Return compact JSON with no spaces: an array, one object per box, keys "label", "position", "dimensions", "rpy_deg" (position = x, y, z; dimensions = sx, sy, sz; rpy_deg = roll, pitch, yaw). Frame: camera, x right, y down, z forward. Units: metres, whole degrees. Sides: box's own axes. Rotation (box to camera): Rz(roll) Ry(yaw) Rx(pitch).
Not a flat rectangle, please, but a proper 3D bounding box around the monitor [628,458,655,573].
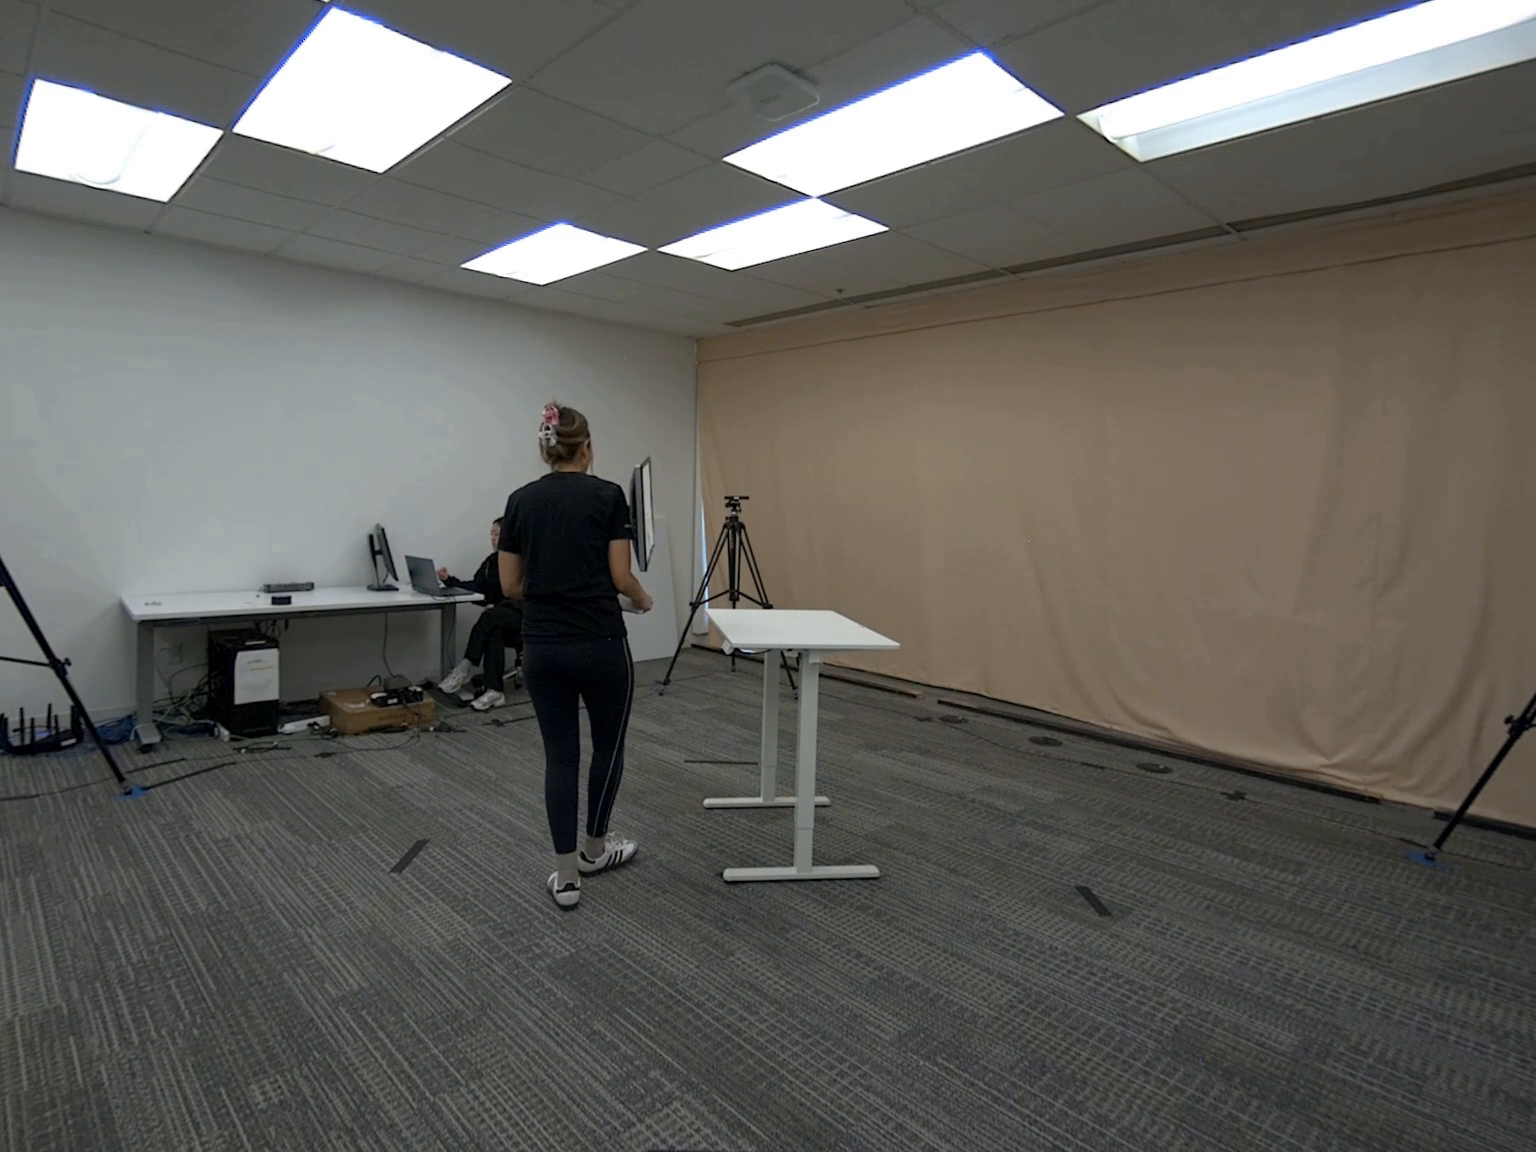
[{"label":"monitor","position":[-0.508,-0.161,3.111],"dimensions":[0.186,0.520,0.546],"rpy_deg":[8,10,-9]}]
